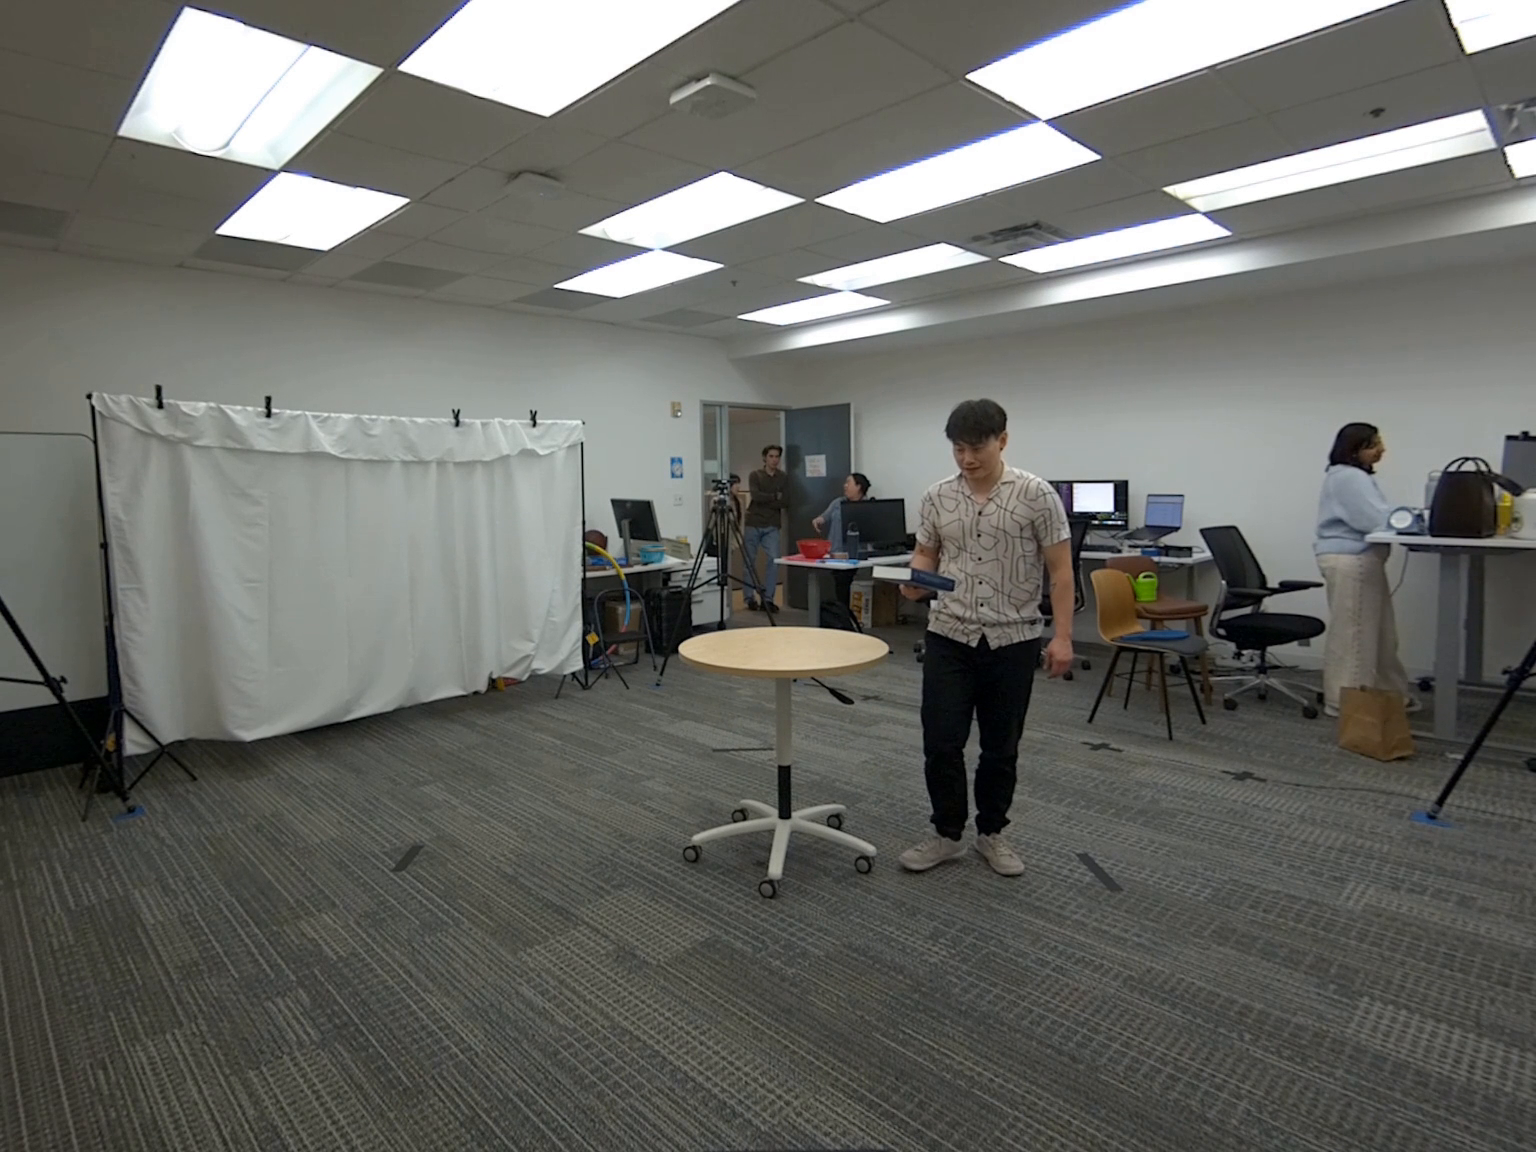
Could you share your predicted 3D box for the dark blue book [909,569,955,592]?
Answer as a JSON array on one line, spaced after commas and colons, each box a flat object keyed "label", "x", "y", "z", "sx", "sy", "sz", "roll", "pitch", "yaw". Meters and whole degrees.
[{"label": "dark blue book", "x": 0.483, "y": 0.010, "z": 2.824, "sx": 0.237, "sy": 0.045, "sz": 0.168, "roll": 13, "pitch": -5, "yaw": -42}]
